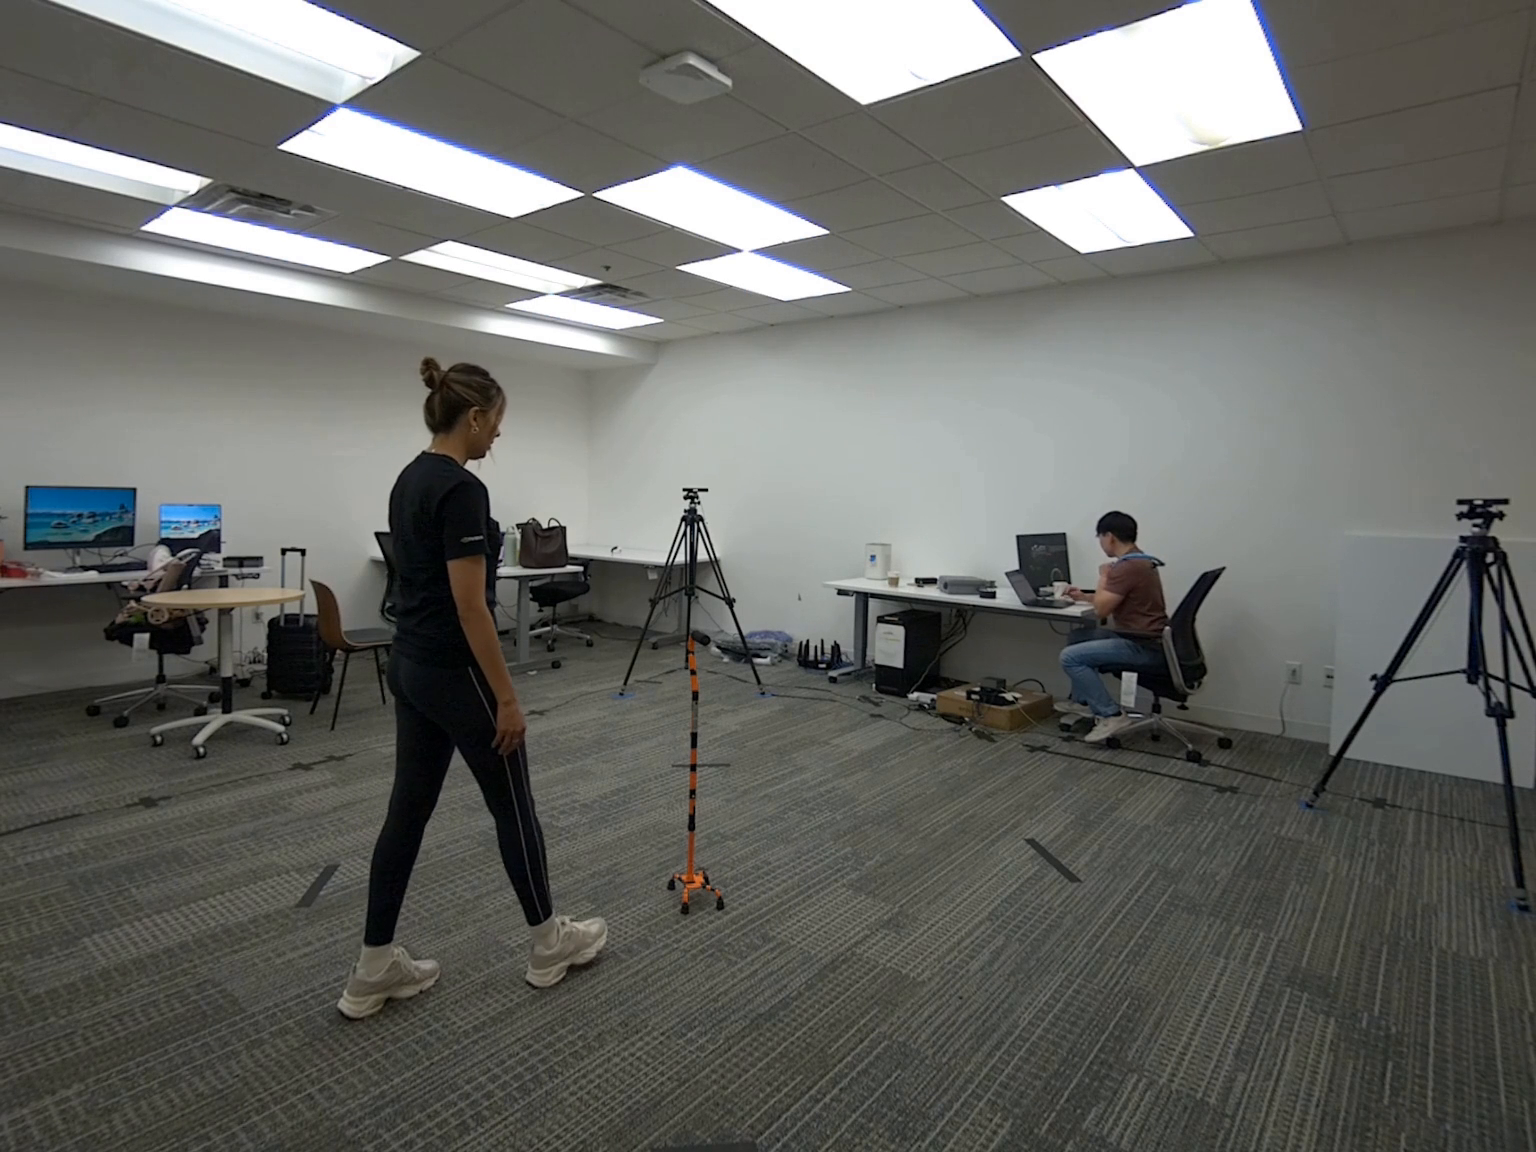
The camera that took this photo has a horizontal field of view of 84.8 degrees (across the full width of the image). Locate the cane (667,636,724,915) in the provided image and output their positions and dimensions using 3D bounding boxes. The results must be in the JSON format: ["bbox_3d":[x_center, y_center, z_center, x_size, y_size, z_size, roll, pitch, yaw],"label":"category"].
[{"bbox_3d":[-0.246,0.640,2.863,0.148,0.905,0.211,0,3,-21],"label":"cane"}]
